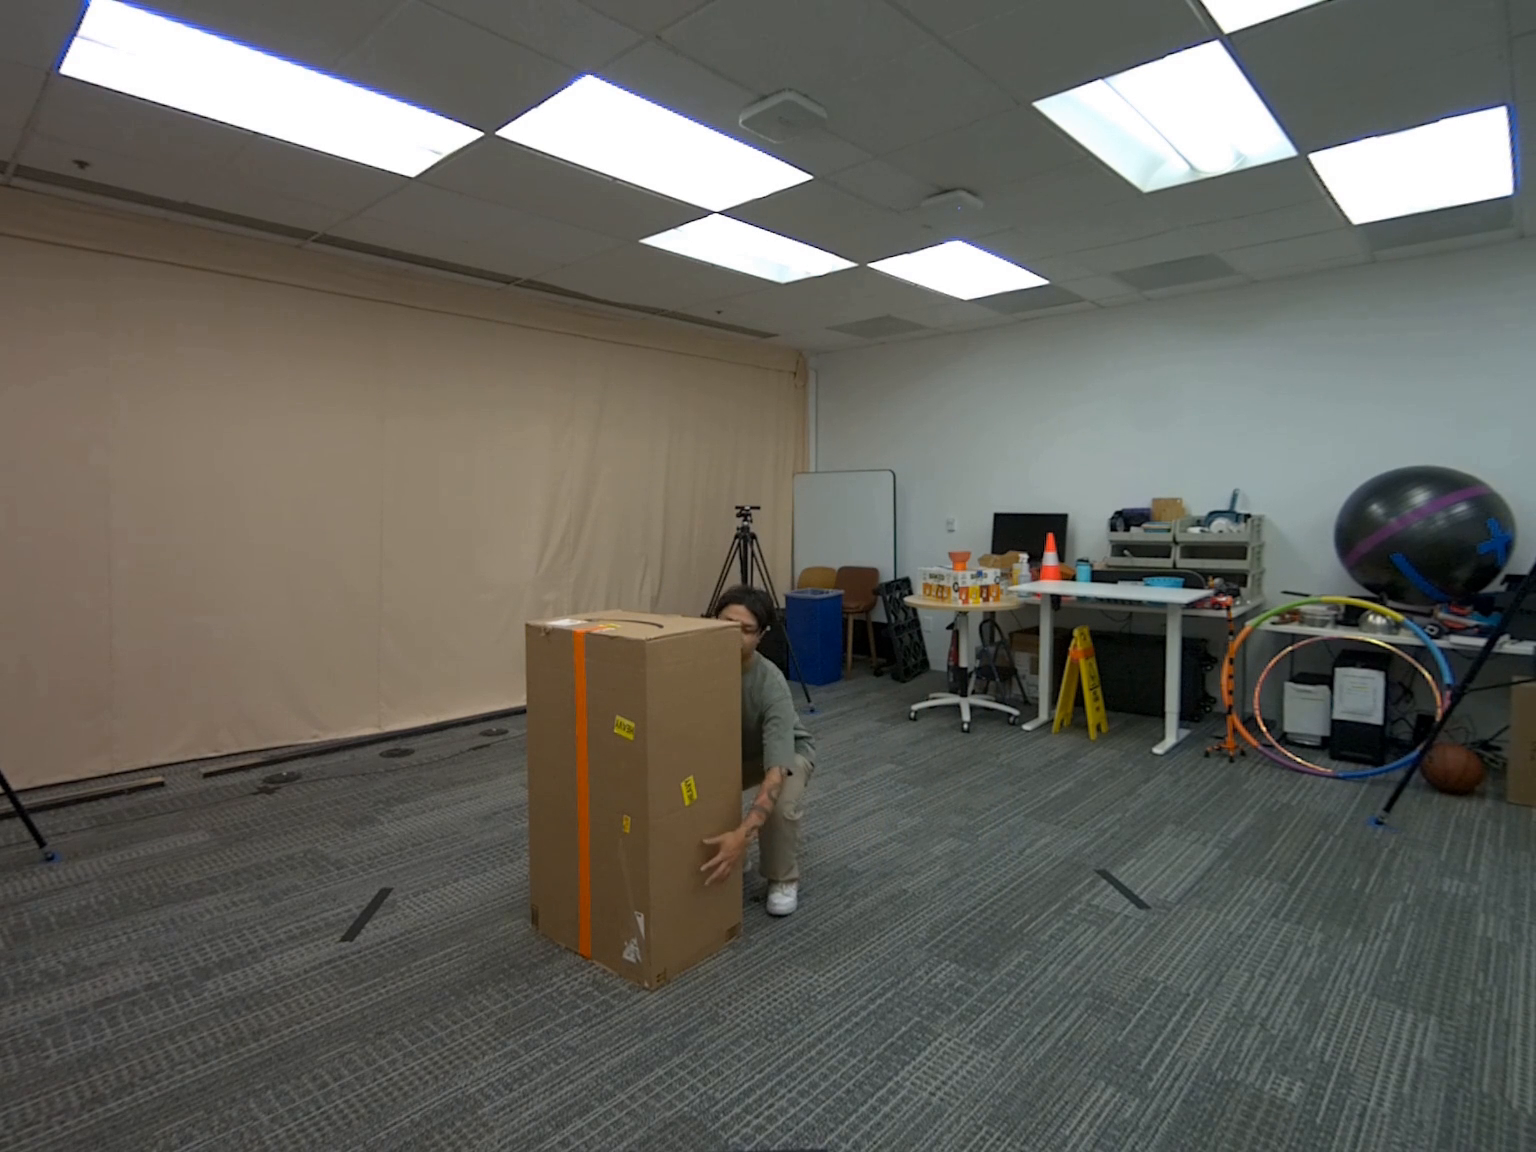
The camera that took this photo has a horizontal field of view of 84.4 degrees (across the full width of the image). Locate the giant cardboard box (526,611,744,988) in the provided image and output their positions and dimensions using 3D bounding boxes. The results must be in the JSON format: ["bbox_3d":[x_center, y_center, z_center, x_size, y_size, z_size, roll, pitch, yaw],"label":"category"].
[{"bbox_3d":[-0.441,0.659,2.728,0.596,1.024,0.413,3,4,39],"label":"giant cardboard box"}]
